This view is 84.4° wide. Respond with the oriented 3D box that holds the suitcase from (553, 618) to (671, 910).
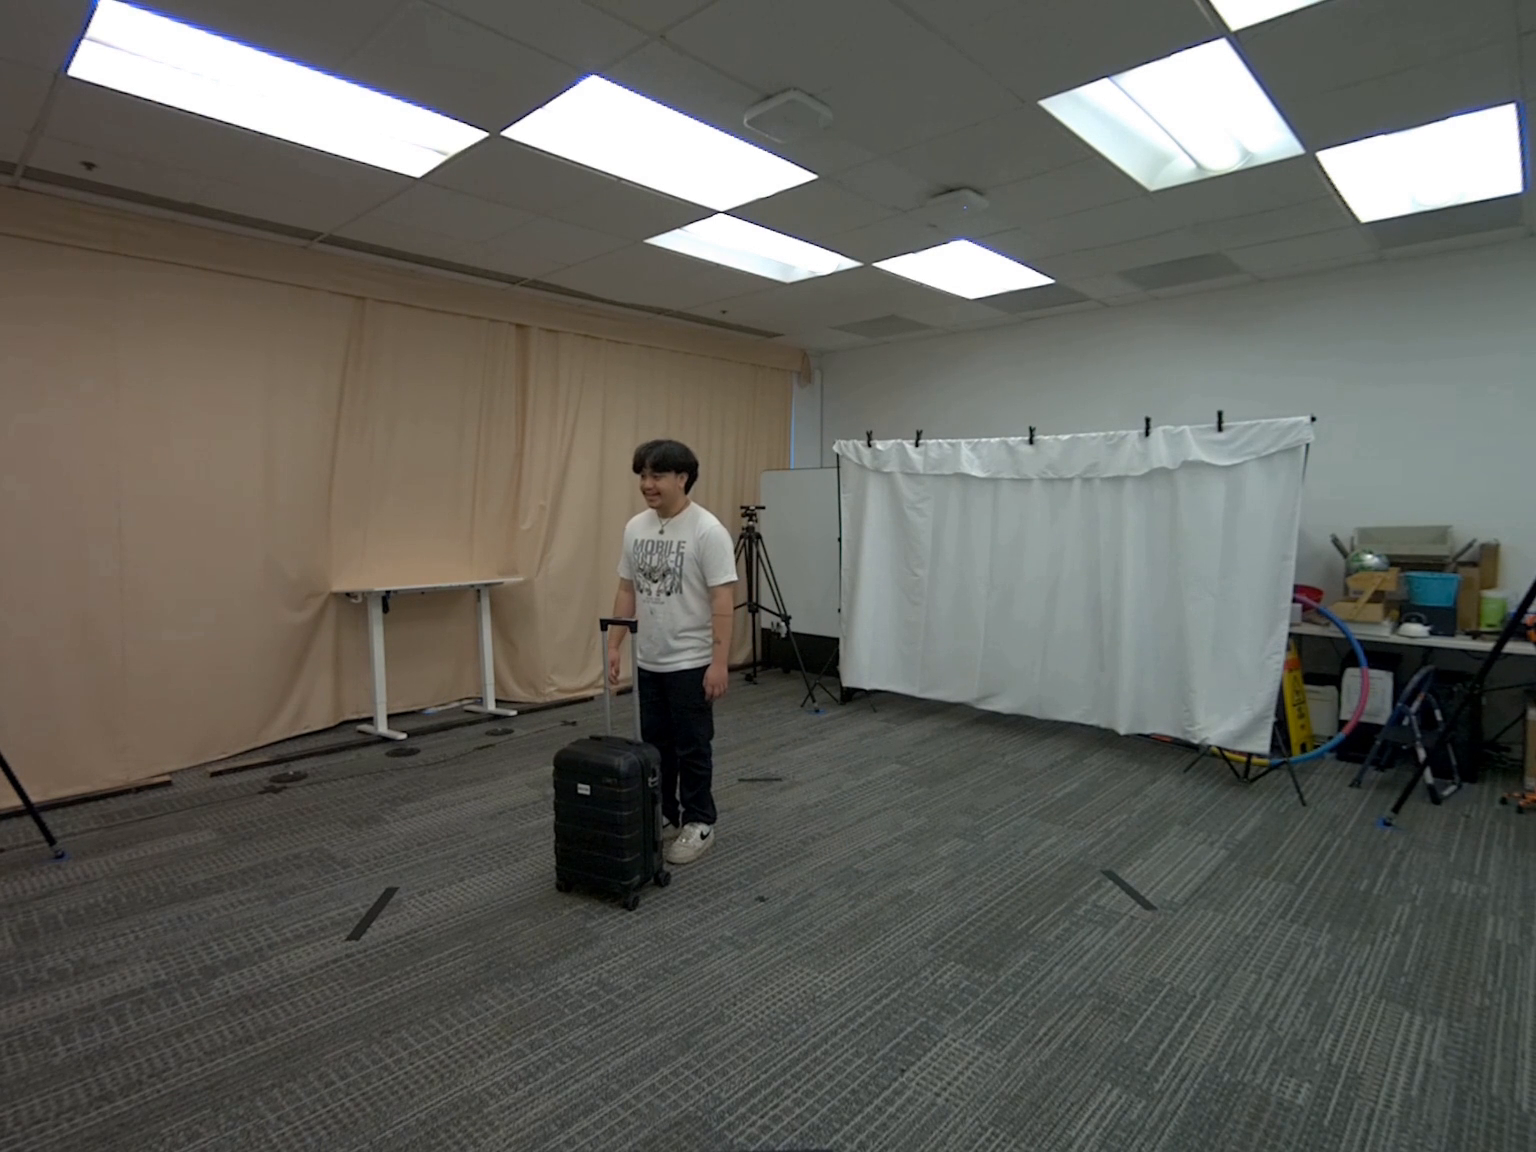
[{"bbox_3d":[-0.586,0.669,3.030,0.394,0.975,0.251,1,6,27],"label":"suitcase"}]
